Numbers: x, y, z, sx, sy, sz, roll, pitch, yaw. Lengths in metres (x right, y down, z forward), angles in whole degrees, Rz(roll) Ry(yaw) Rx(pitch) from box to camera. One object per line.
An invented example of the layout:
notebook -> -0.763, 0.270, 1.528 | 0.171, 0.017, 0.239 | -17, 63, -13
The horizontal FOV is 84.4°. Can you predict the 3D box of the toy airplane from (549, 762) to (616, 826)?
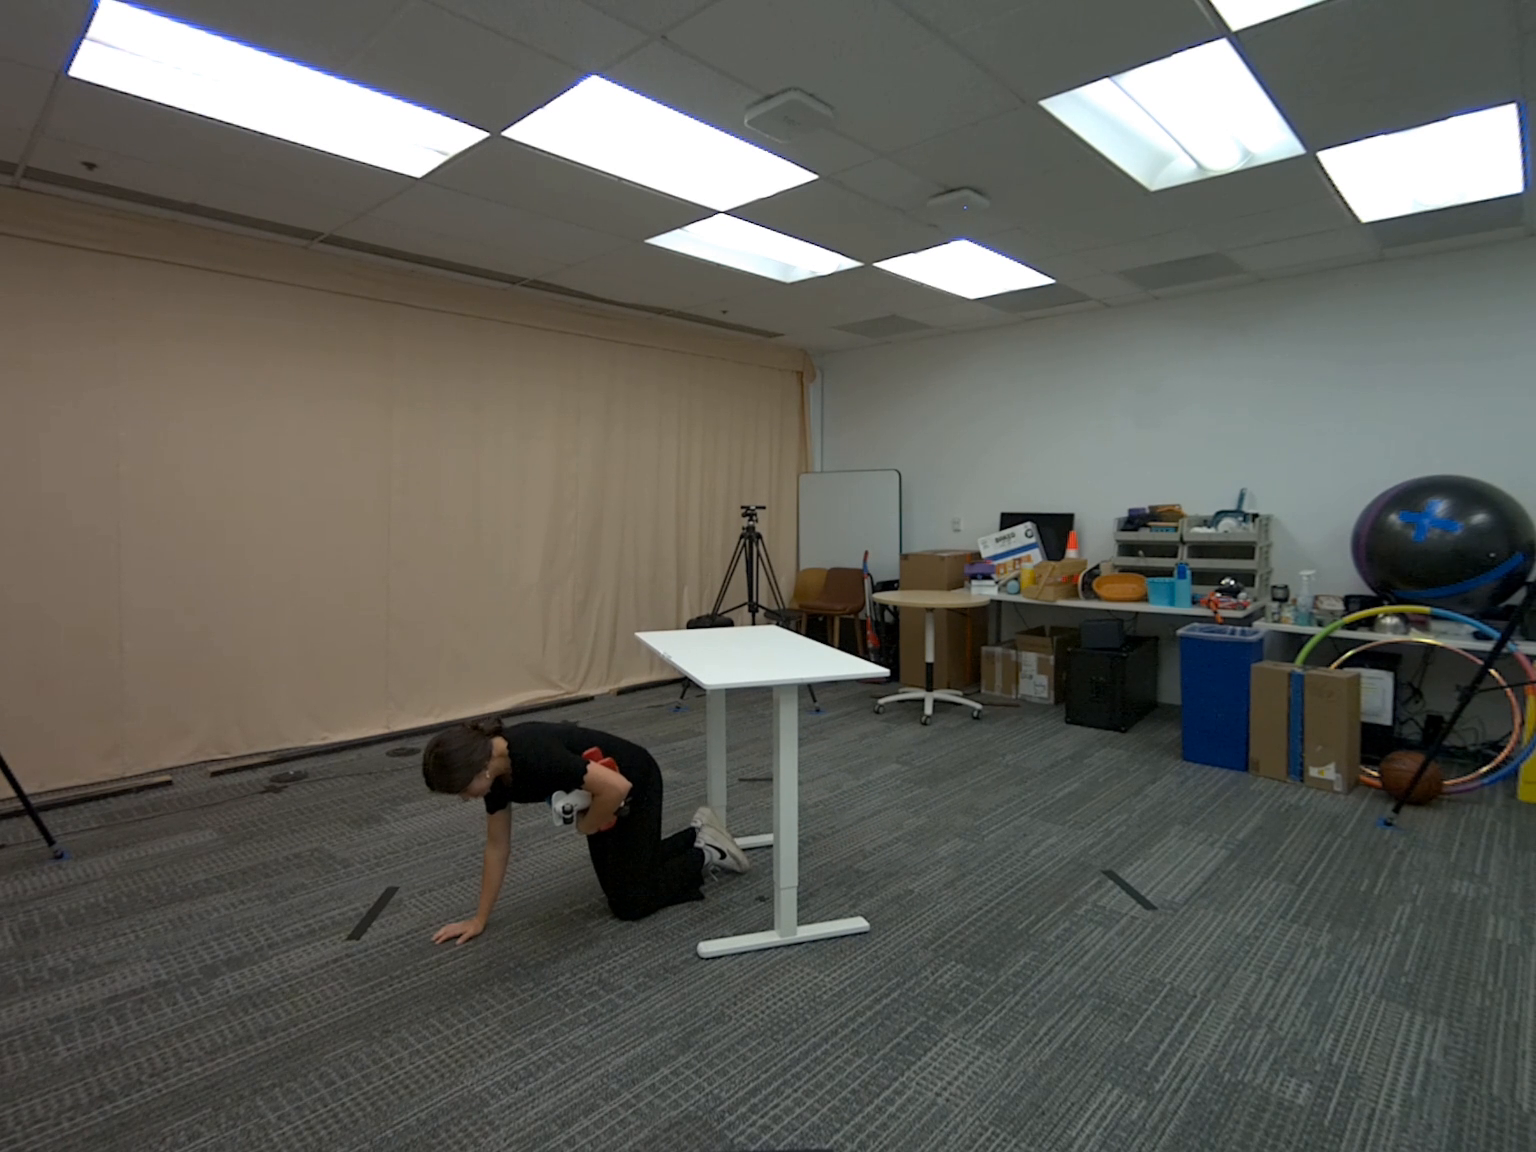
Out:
toy airplane -> -0.566, 0.676, 2.672 | 0.251, 0.251, 0.161 | 20, 8, -31
